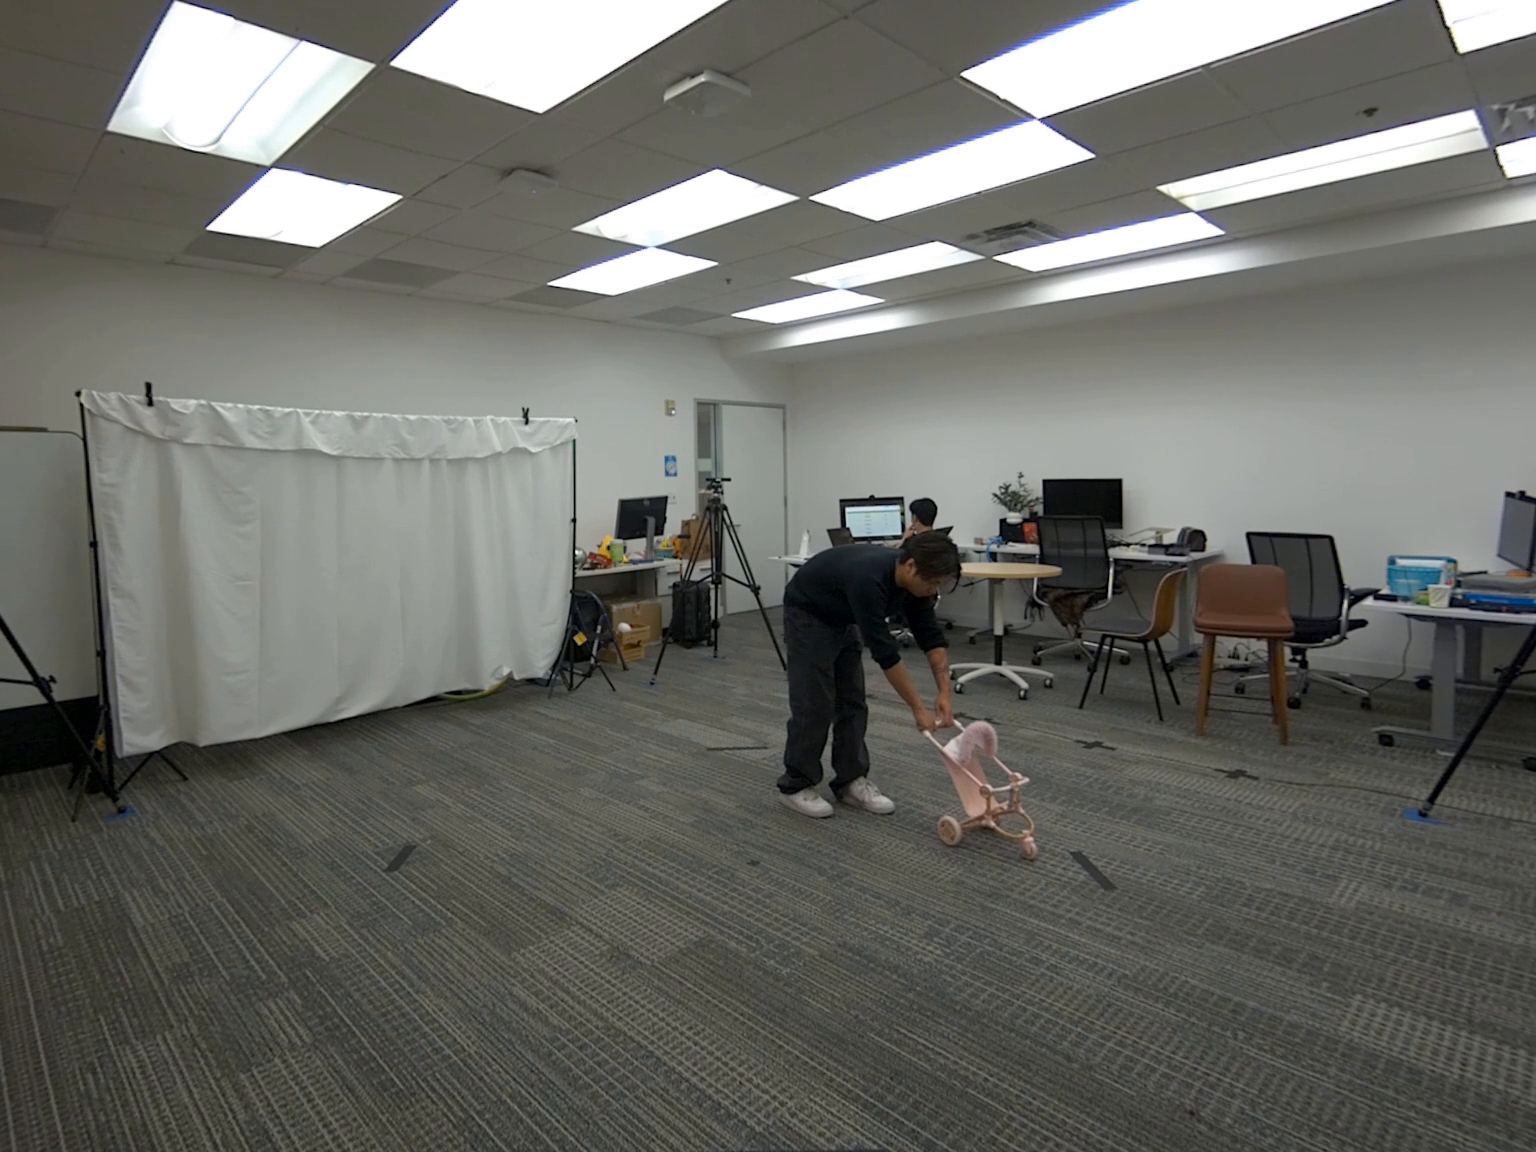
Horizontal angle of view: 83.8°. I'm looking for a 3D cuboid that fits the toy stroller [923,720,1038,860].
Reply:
[{"bbox_3d":[0.813,0.789,3.243,0.274,0.542,0.345,-4,-13,-34],"label":"toy stroller"}]
